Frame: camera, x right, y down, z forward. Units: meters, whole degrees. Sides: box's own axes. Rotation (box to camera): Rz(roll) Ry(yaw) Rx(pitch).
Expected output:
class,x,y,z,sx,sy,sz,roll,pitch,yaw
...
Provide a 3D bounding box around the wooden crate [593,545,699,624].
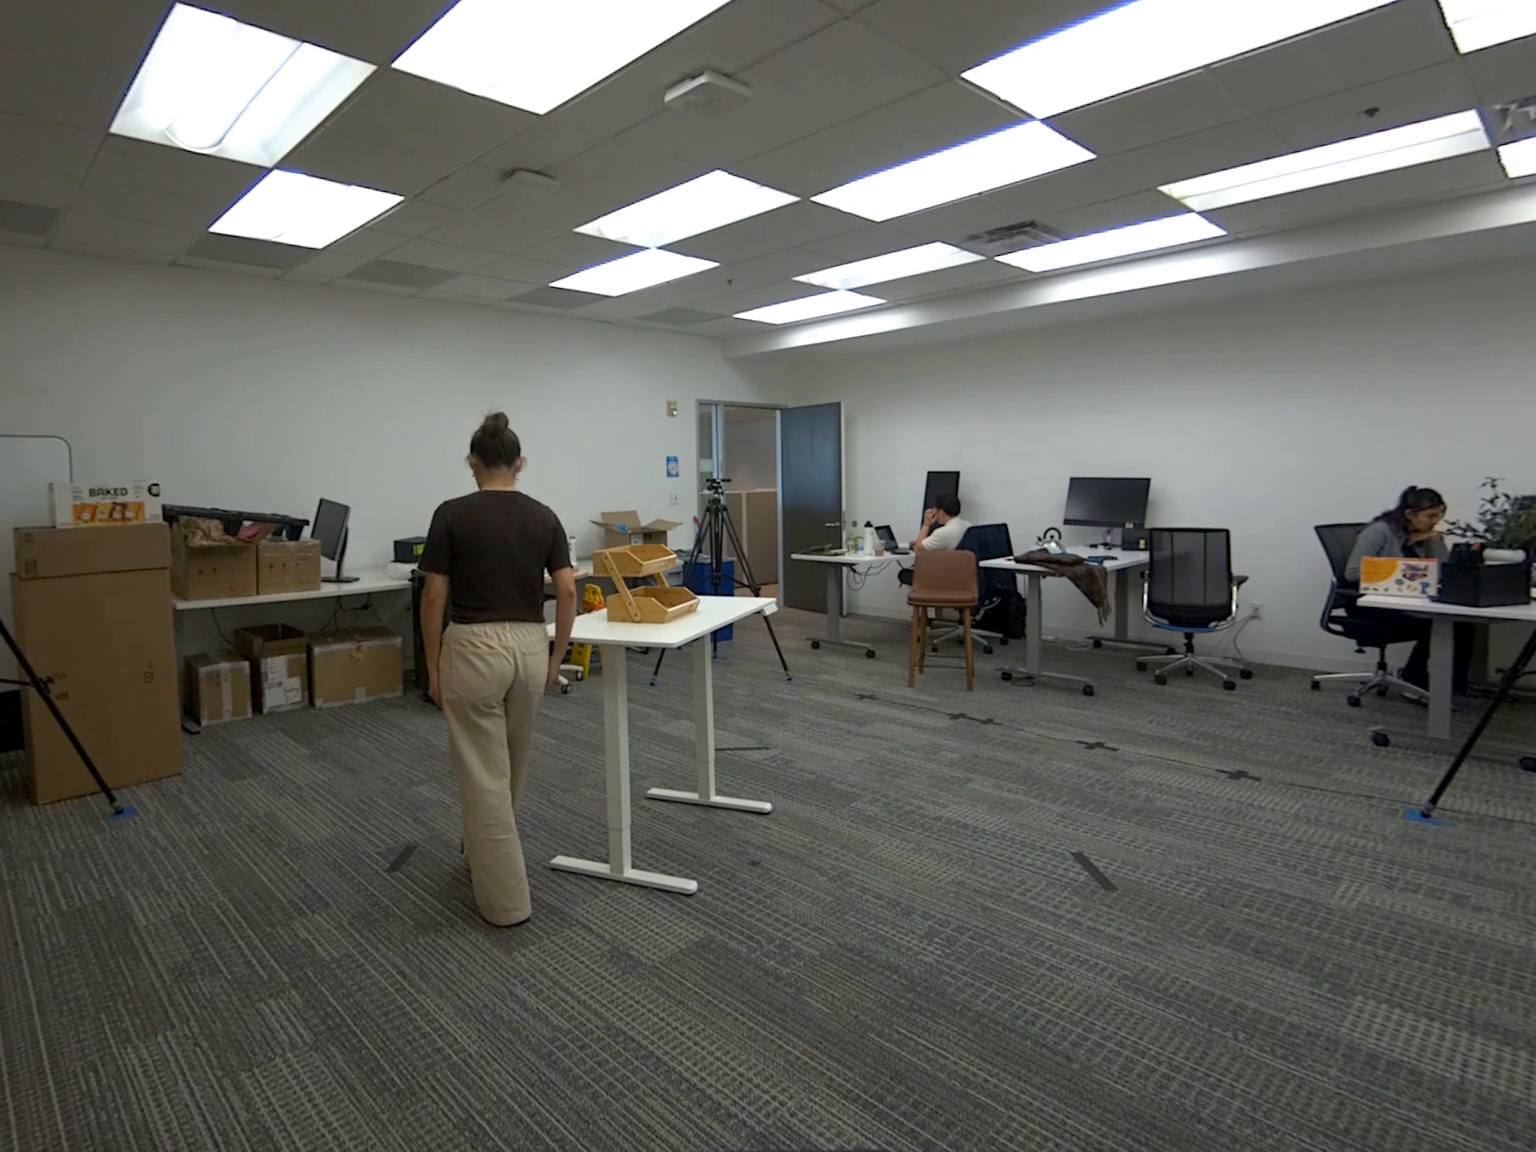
class,x,y,z,sx,sy,sz,roll,pitch,yaw
wooden crate,-0.454,0.022,3.249,0.308,0.272,0.320,0,5,20
